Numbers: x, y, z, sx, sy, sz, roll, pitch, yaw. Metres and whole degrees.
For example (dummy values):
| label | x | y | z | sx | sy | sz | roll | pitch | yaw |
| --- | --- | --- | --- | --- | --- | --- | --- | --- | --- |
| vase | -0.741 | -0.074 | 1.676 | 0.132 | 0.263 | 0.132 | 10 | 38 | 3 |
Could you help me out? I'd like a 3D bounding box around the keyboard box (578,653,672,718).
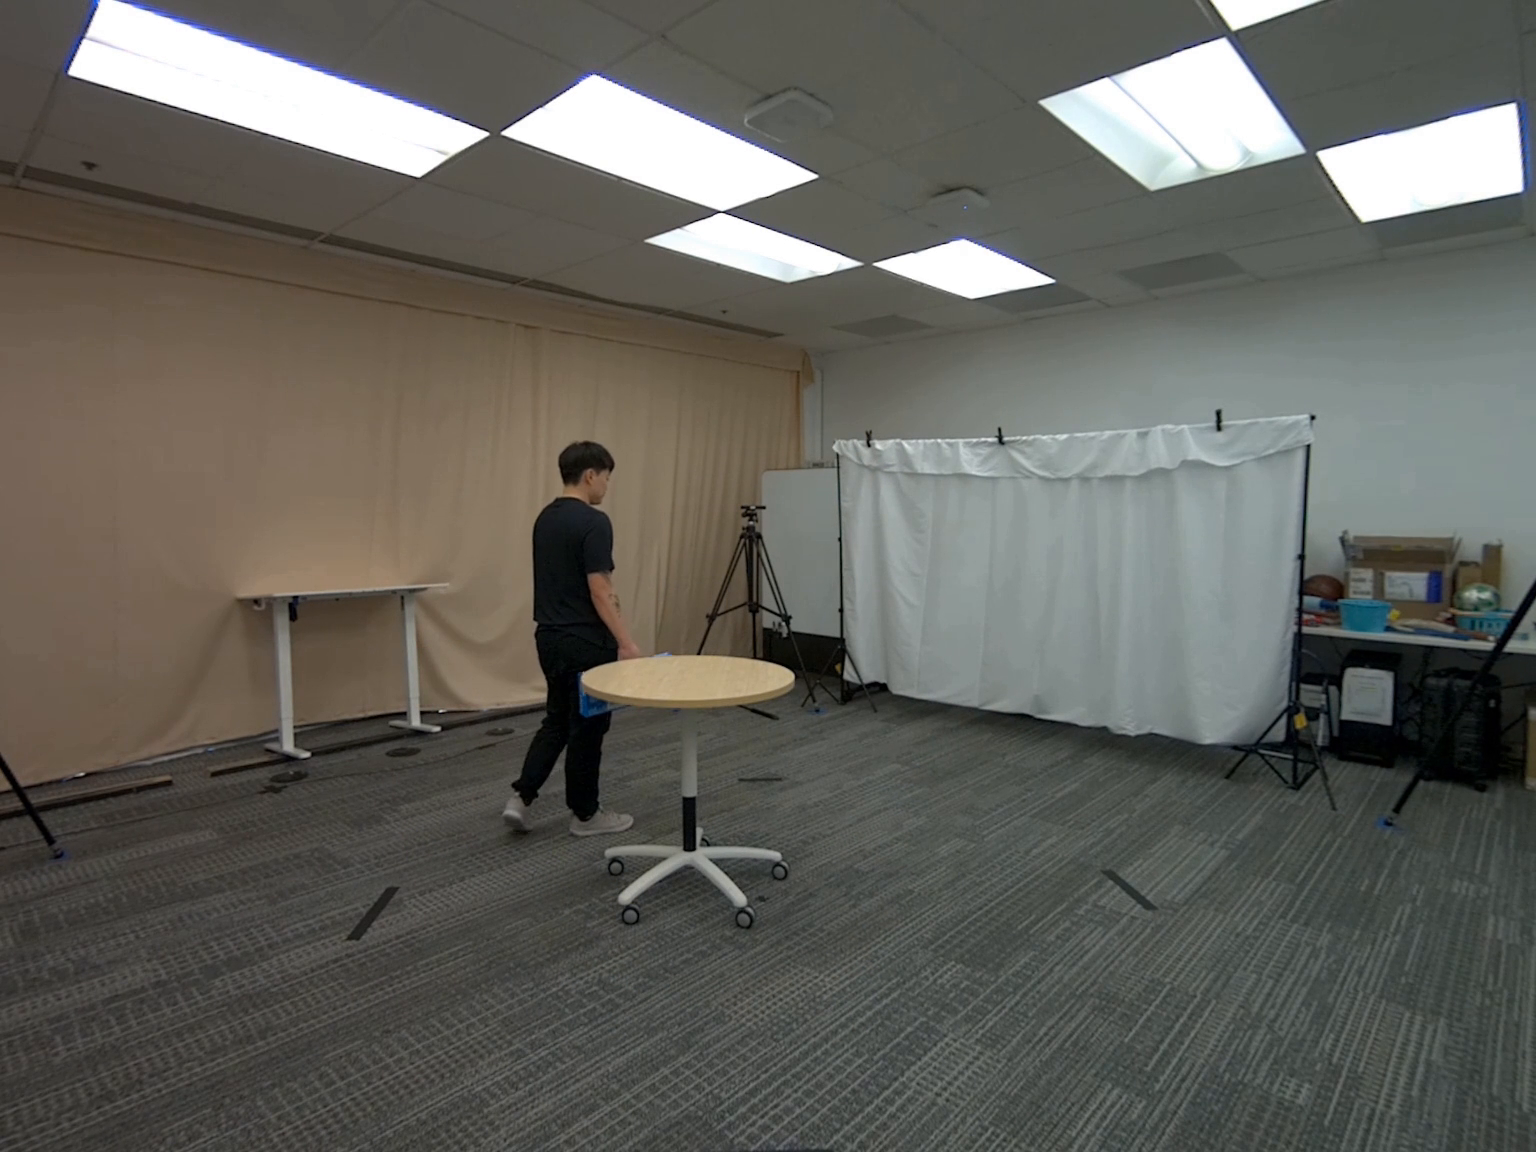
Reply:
| label | x | y | z | sx | sy | sz | roll | pitch | yaw |
| --- | --- | --- | --- | --- | --- | --- | --- | --- | --- |
| keyboard box | -0.576 | 0.445 | 3.454 | 0.424 | 0.175 | 0.061 | -9 | 13 | -40 |
